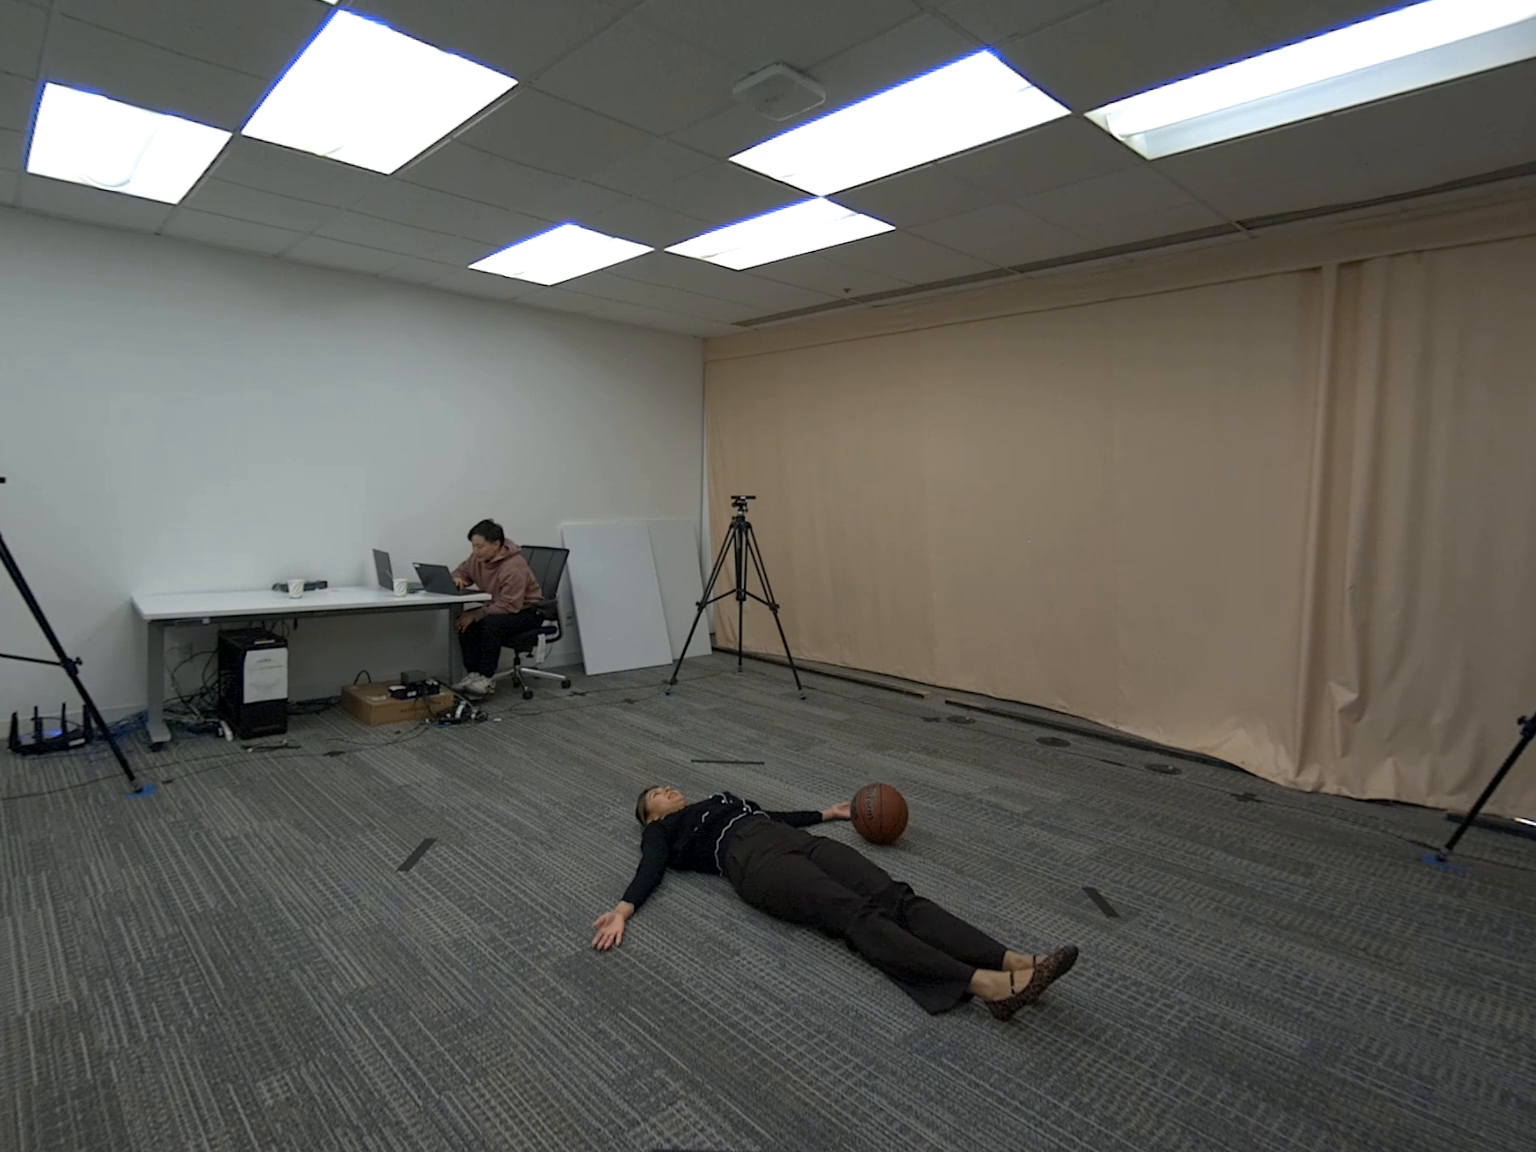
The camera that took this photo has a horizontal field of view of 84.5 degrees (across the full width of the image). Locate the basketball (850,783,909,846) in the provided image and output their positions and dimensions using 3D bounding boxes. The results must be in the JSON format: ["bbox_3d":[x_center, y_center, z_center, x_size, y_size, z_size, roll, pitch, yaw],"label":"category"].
[{"bbox_3d":[0.445,0.966,3.443,0.236,0.235,0.237,1,4,-1],"label":"basketball"}]
